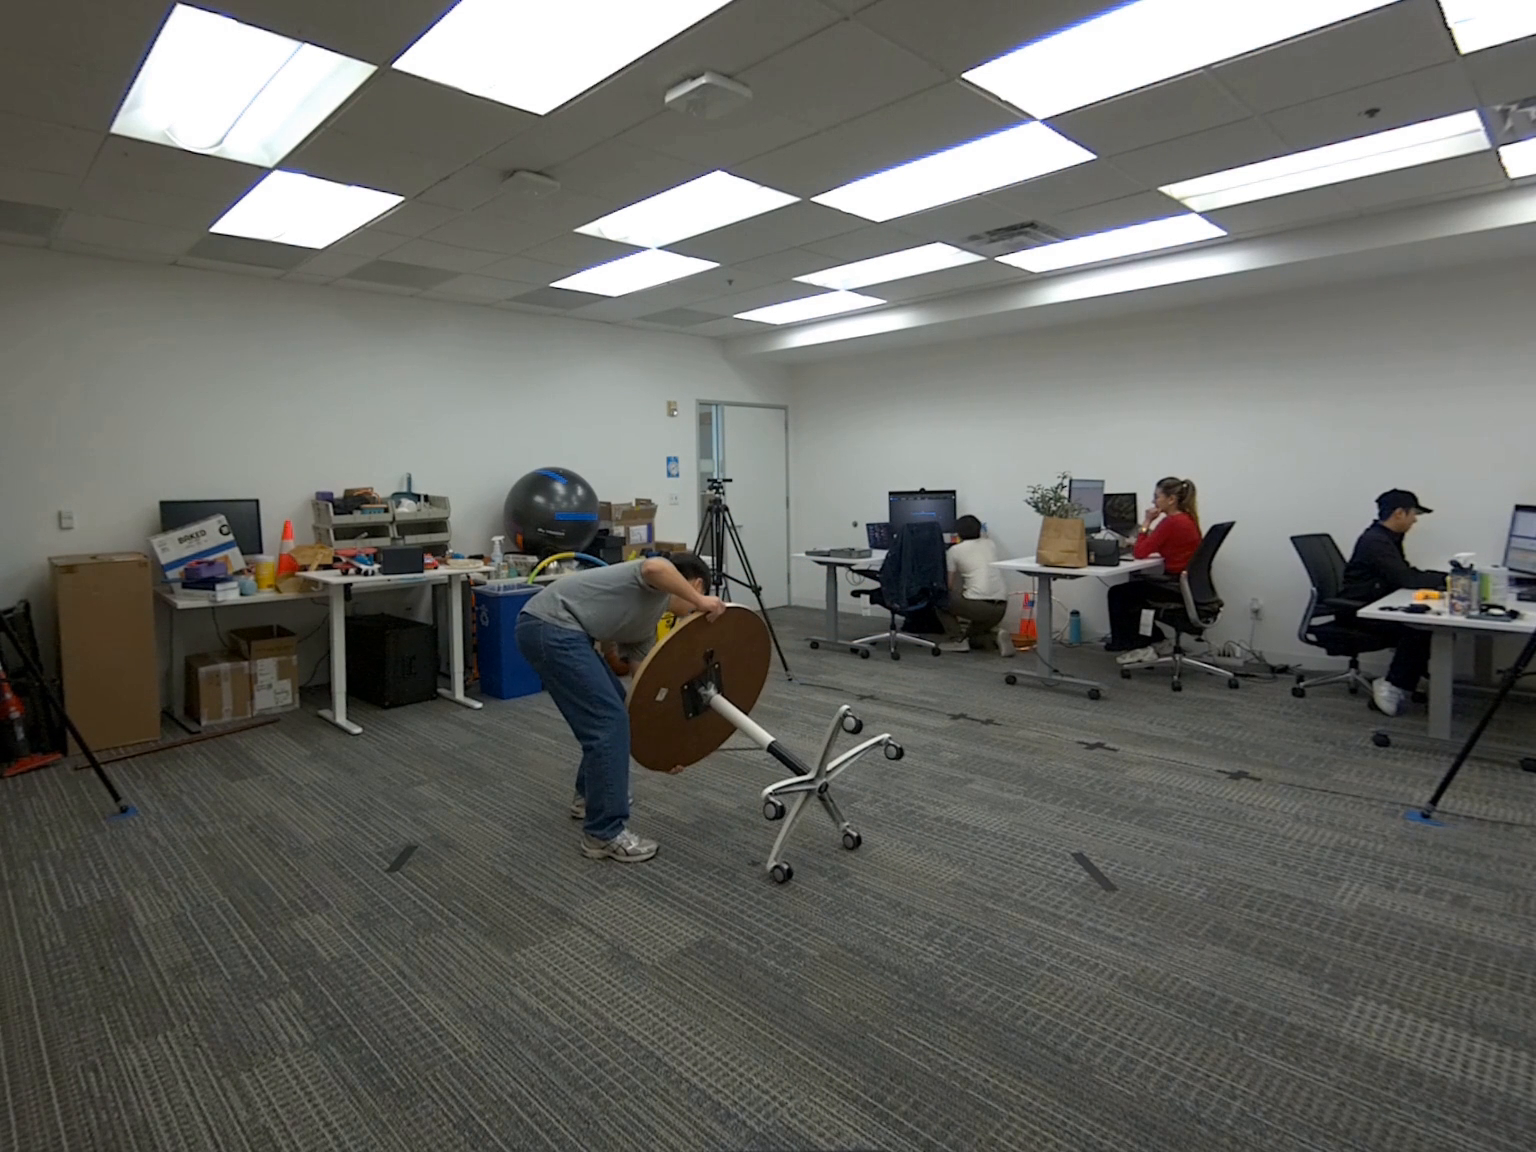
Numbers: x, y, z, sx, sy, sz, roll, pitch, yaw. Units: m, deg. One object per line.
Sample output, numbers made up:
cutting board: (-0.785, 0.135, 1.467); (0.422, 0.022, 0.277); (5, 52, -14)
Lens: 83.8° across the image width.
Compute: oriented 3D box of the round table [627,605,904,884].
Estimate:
round table: (-0.008, 0.619, 3.233); (0.744, 0.755, 0.825); (-5, 27, -45)
